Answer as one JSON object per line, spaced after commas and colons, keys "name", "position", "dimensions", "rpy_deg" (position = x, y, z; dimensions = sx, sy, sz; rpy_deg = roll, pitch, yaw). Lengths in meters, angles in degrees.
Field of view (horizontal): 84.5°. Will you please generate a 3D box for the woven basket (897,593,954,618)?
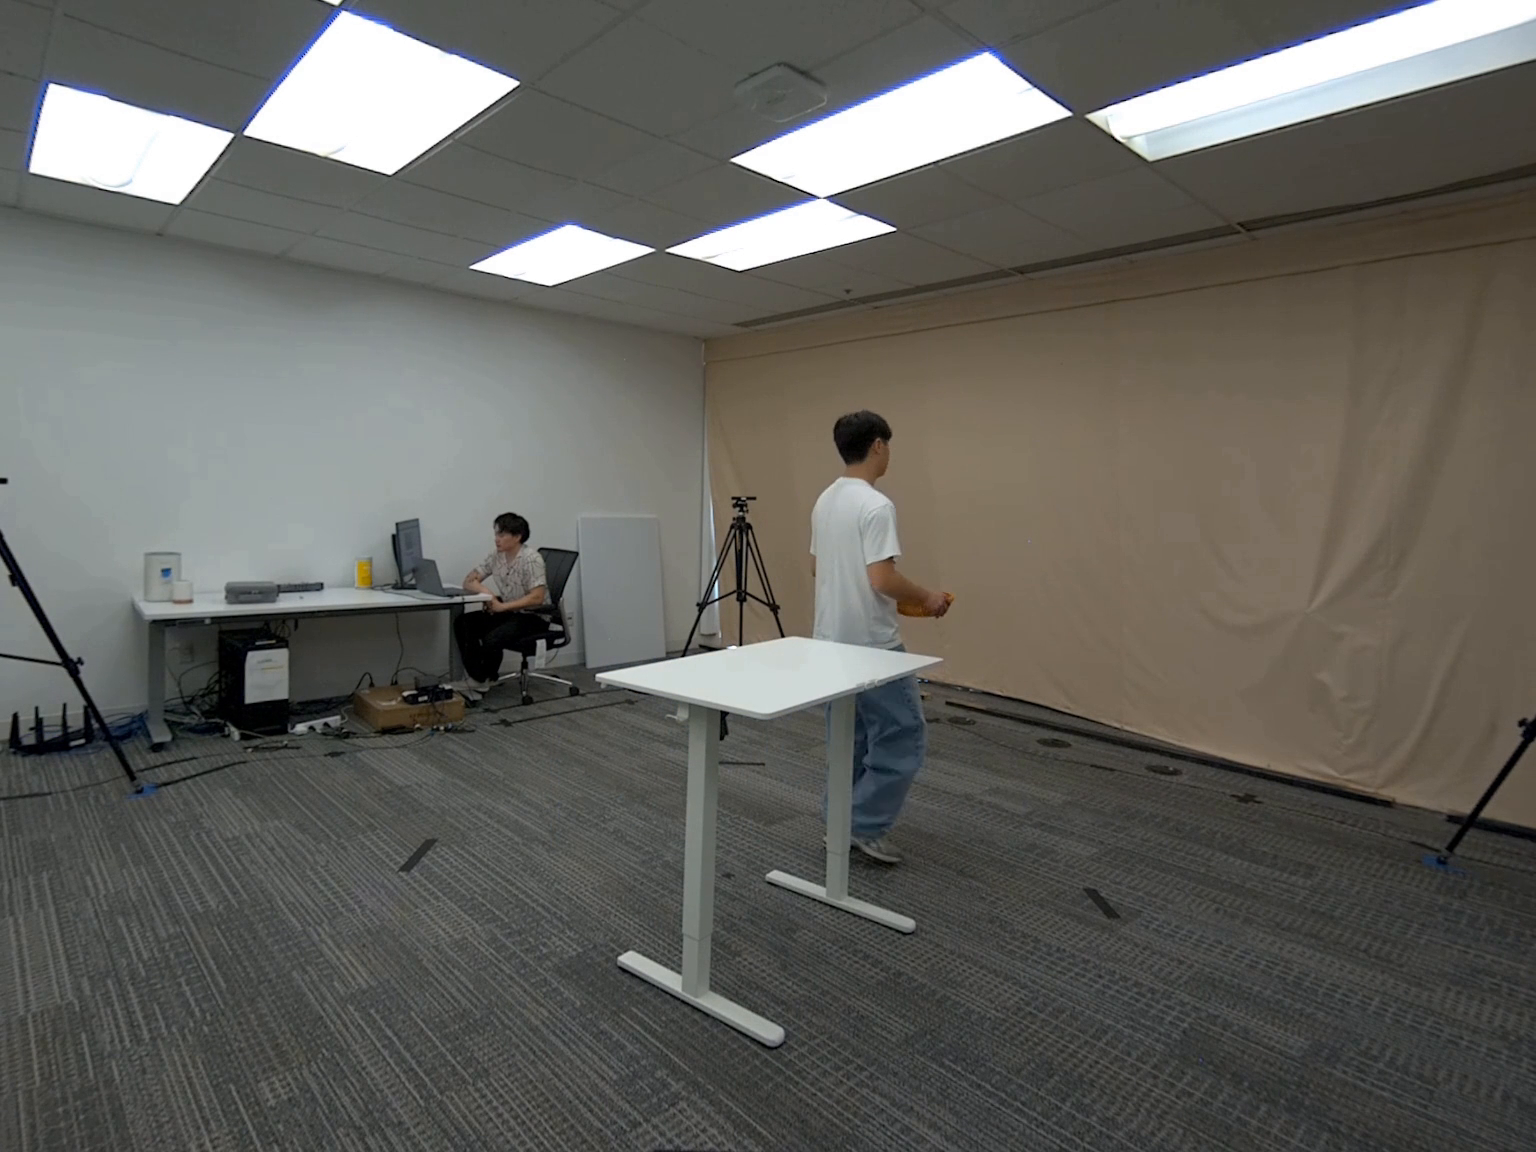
{"name": "woven basket", "position": [0.572, 0.113, 3.421], "dimensions": [0.251, 0.073, 0.353], "rpy_deg": [-4, 5, -9]}
